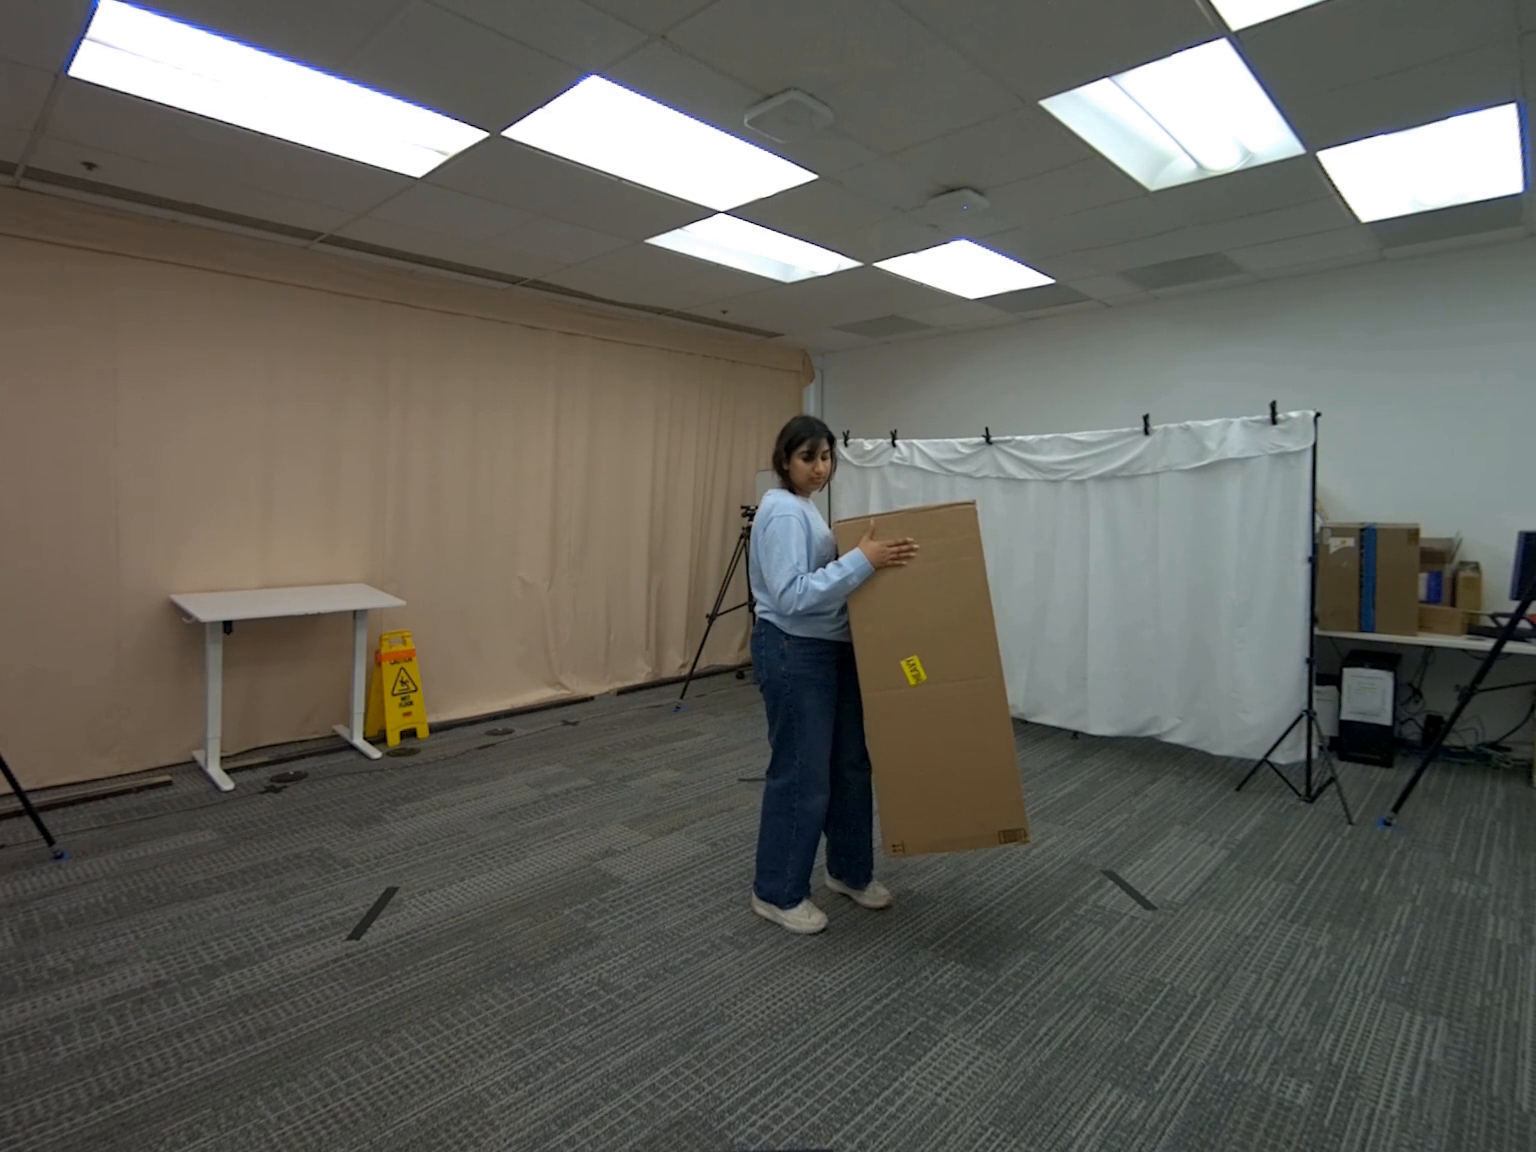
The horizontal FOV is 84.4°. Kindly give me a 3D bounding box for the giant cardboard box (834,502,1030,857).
[{"bbox_3d":[0.516,0.307,2.772,0.451,1.029,0.578,-9,-2,8],"label":"giant cardboard box"}]
